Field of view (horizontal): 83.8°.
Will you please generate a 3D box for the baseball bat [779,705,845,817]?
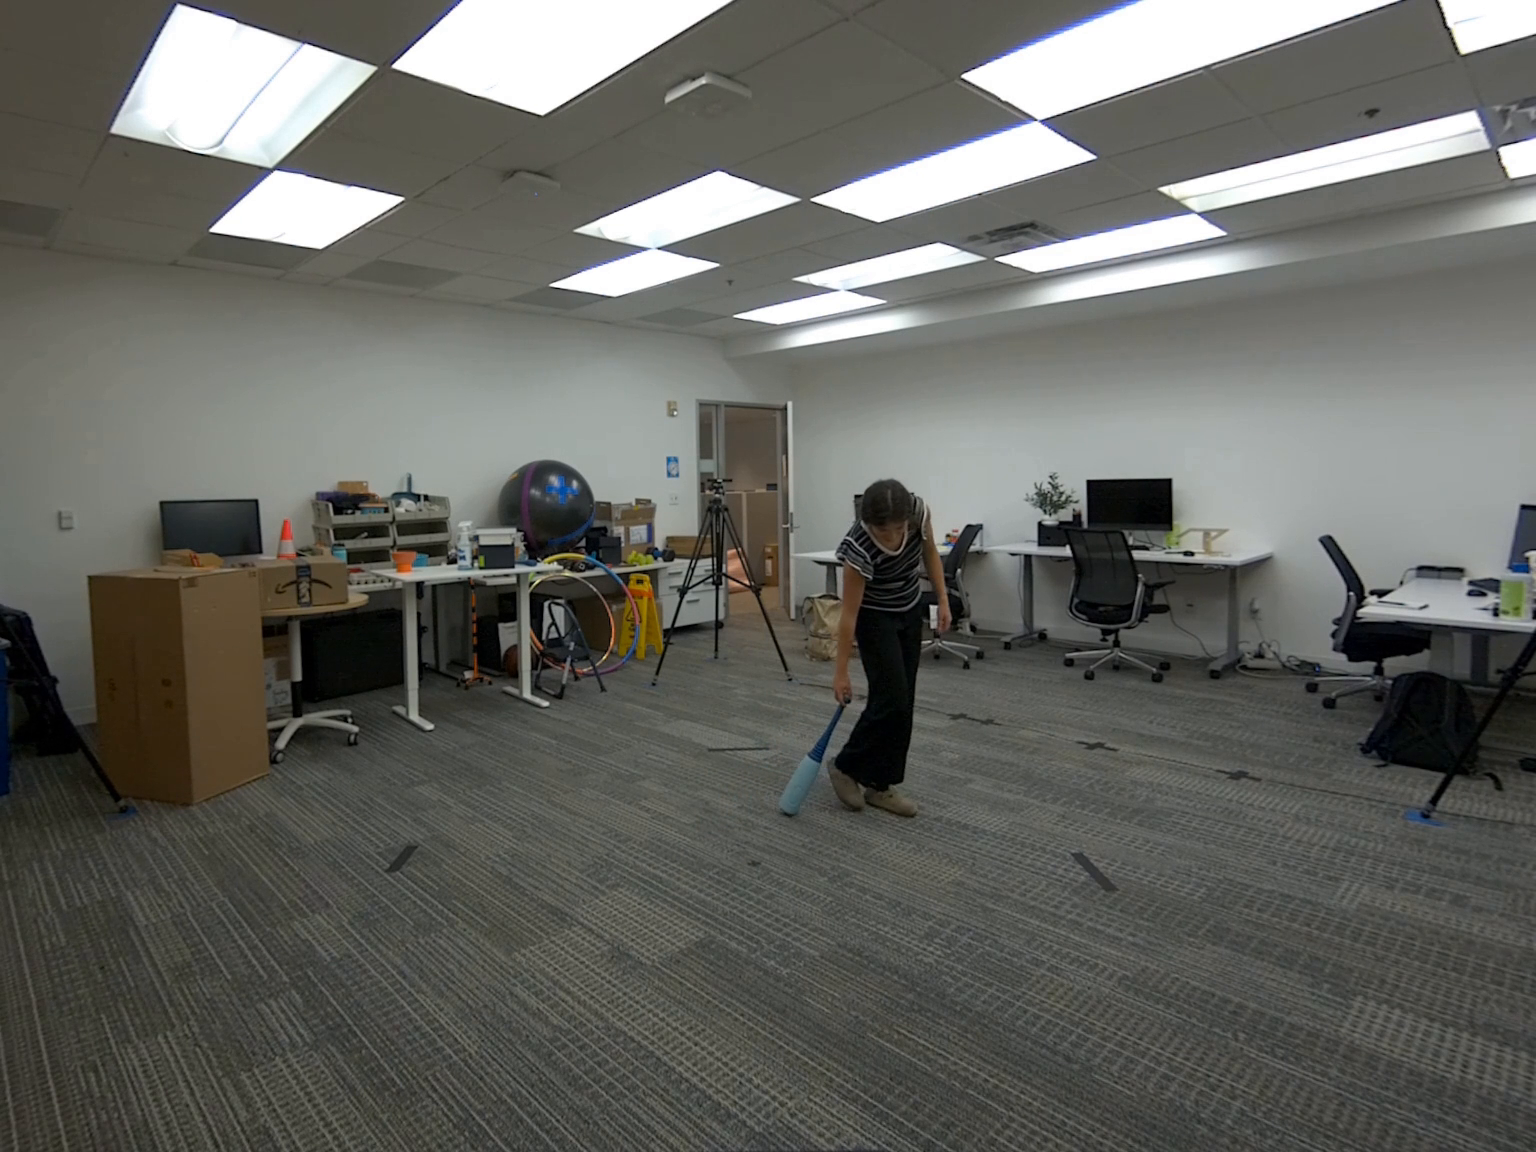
[{"bbox_3d":[0.203,0.745,3.547,0.089,0.542,0.089,28,4,-4],"label":"baseball bat"}]
